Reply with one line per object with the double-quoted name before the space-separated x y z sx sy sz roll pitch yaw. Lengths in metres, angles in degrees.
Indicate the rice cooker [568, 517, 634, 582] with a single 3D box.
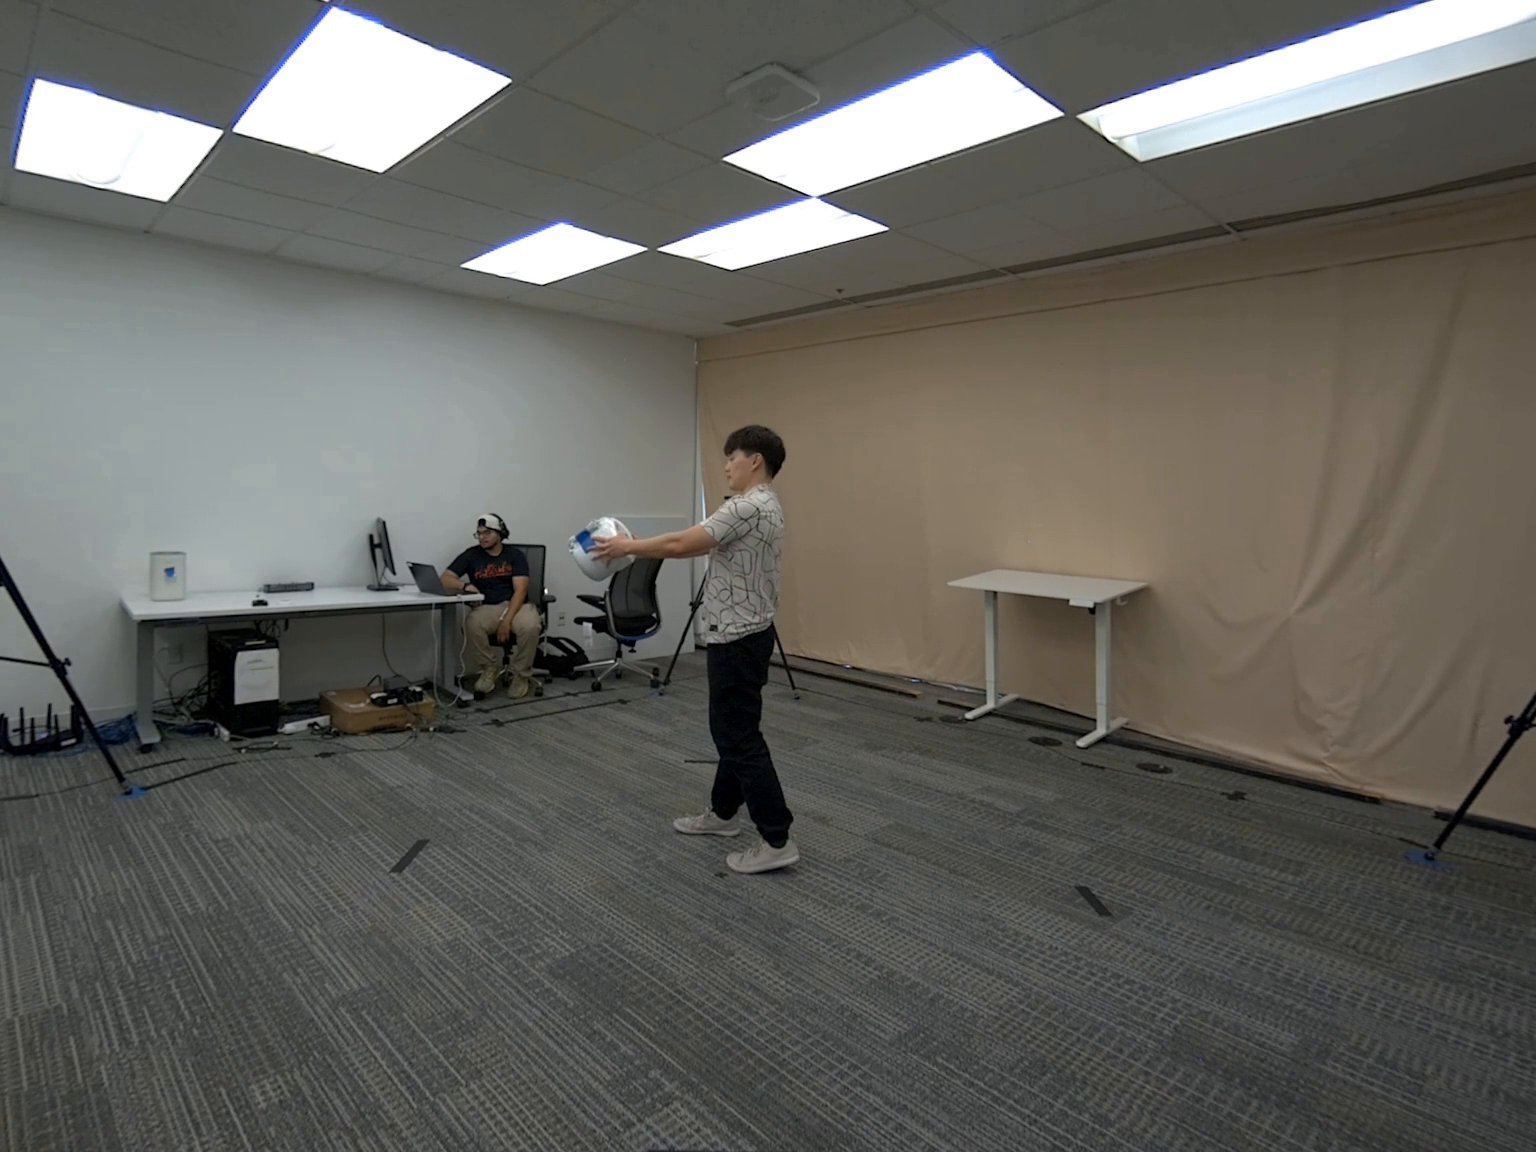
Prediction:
"rice cooker" -0.652 -0.113 3.404 0.233 0.222 0.216 -30 -4 7
